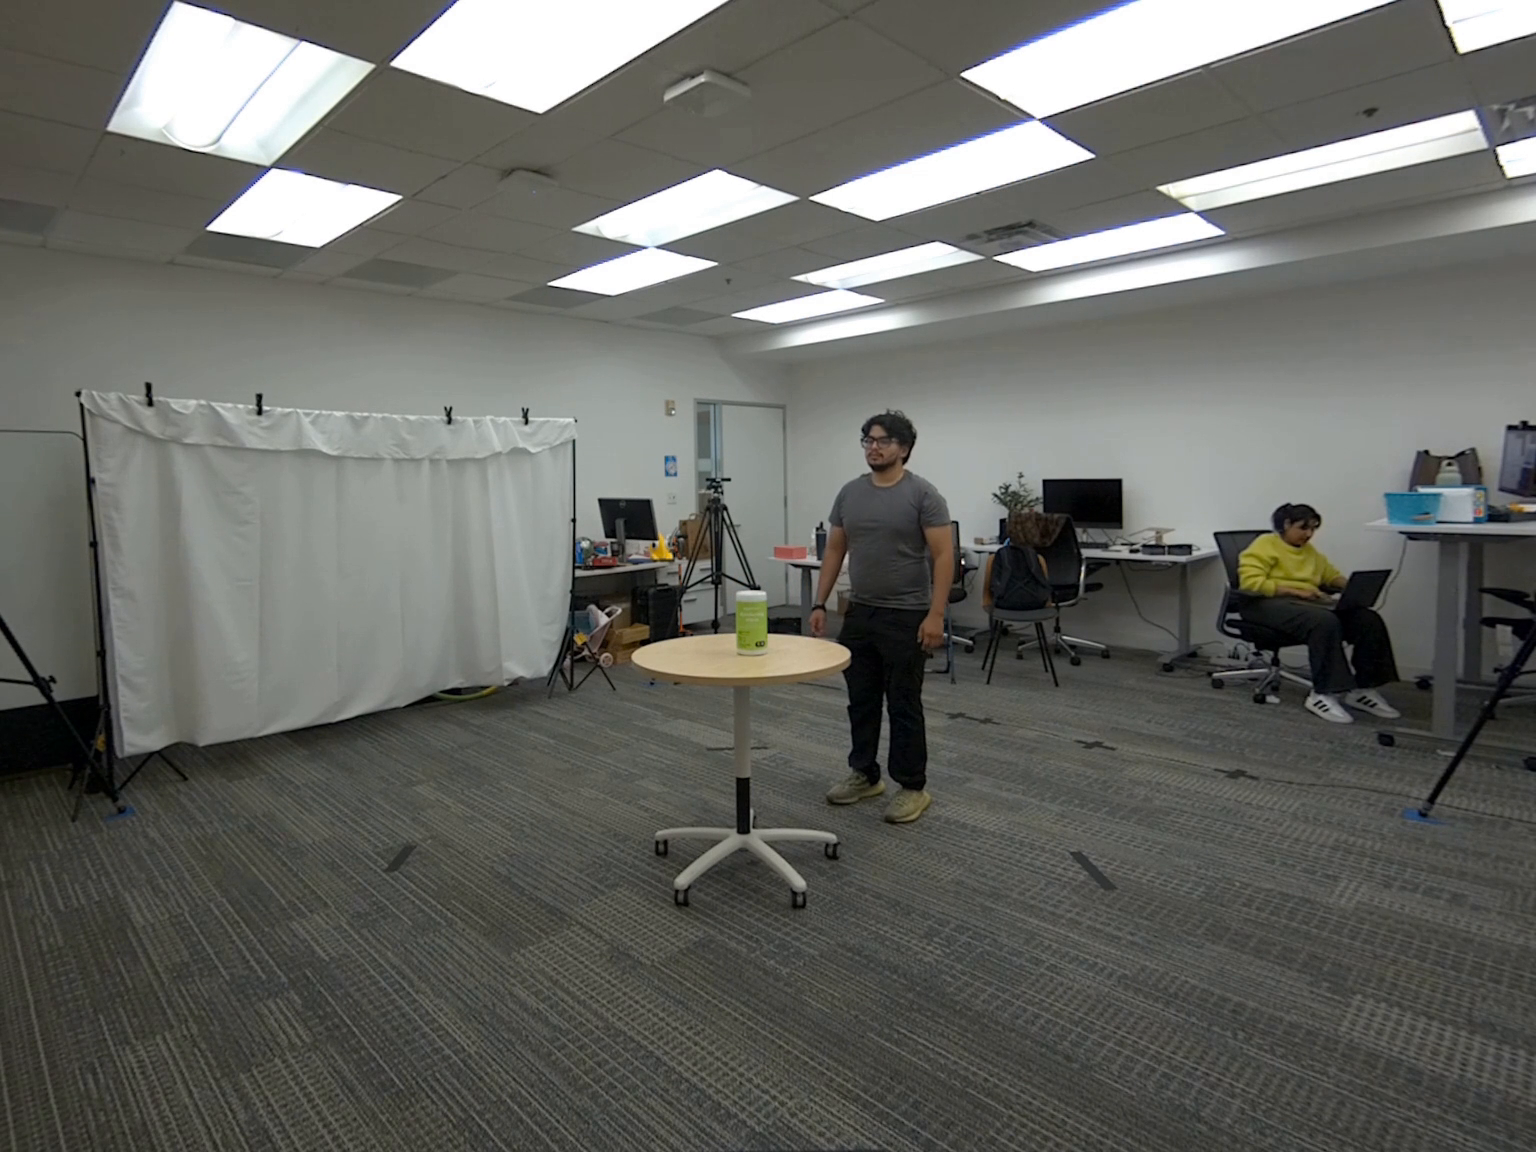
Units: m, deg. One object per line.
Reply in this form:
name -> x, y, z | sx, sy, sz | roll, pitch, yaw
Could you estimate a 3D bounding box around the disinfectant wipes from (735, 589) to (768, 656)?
disinfectant wipes -> -0.059, 0.159, 2.994 | 0.118, 0.217, 0.118 | -1, 3, -2
